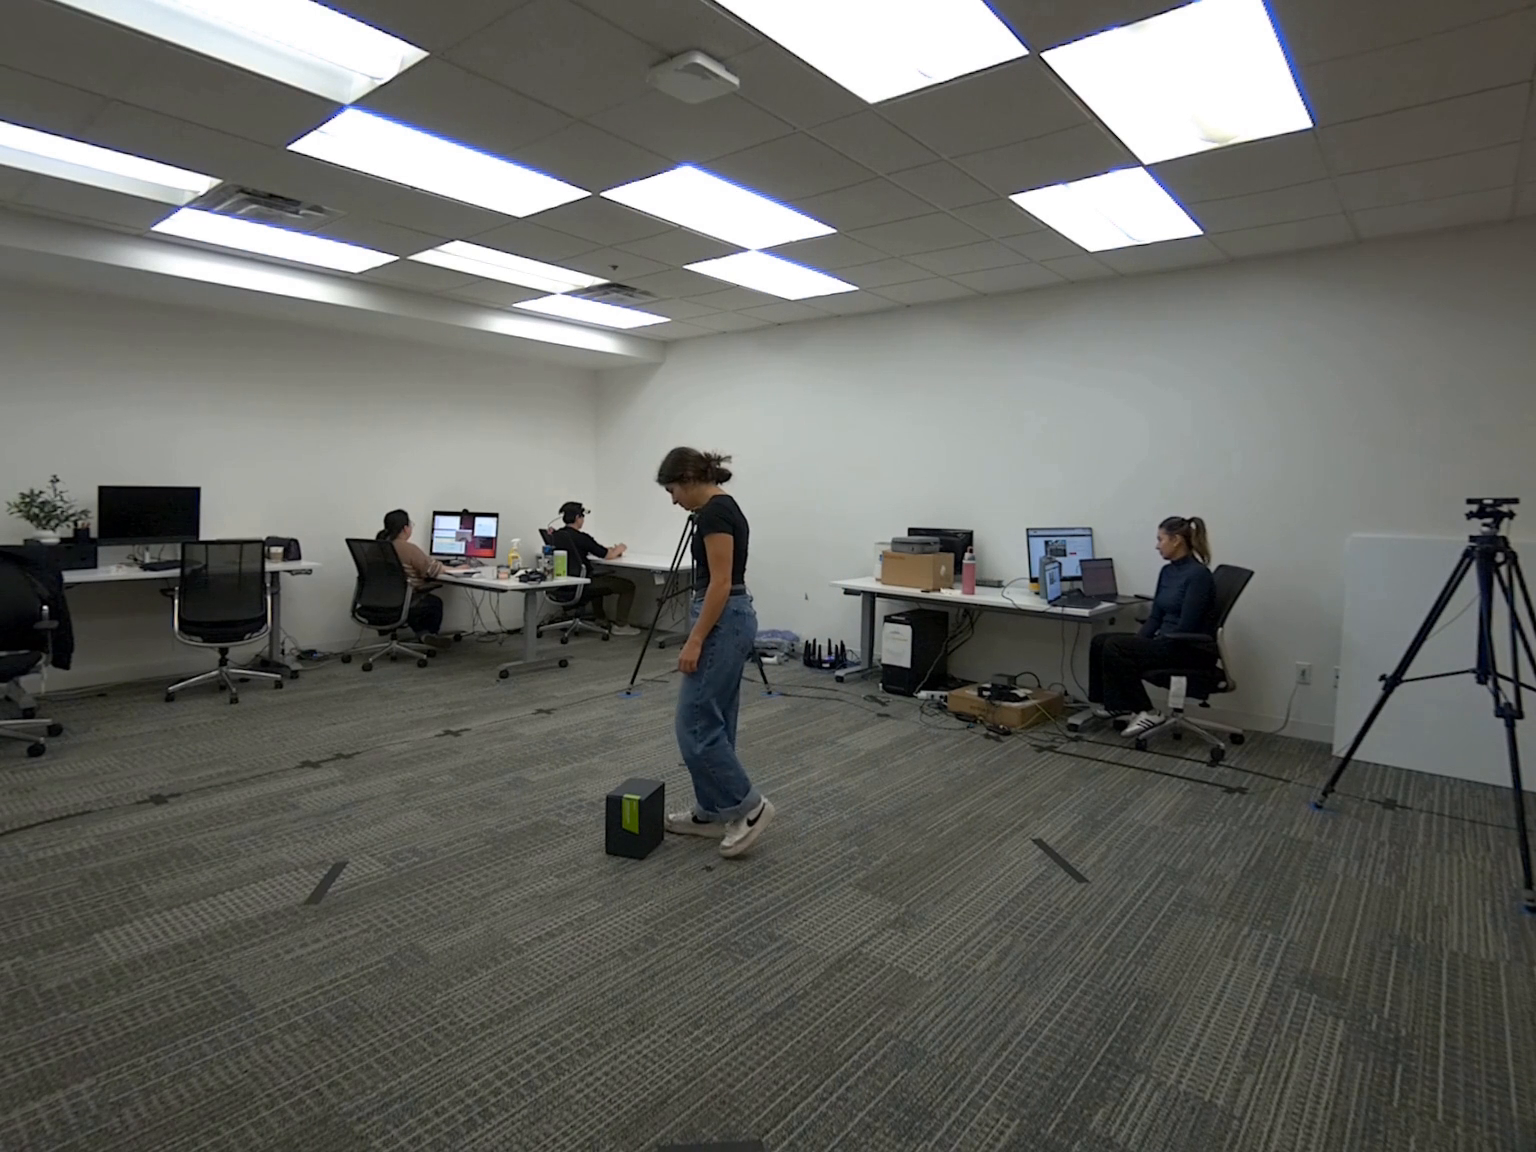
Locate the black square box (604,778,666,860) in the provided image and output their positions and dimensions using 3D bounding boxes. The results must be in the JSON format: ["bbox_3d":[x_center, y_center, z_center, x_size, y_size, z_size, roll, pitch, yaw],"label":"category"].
[{"bbox_3d":[-0.523,0.928,3.285,0.159,0.227,0.214,2,4,17],"label":"black square box"}]
